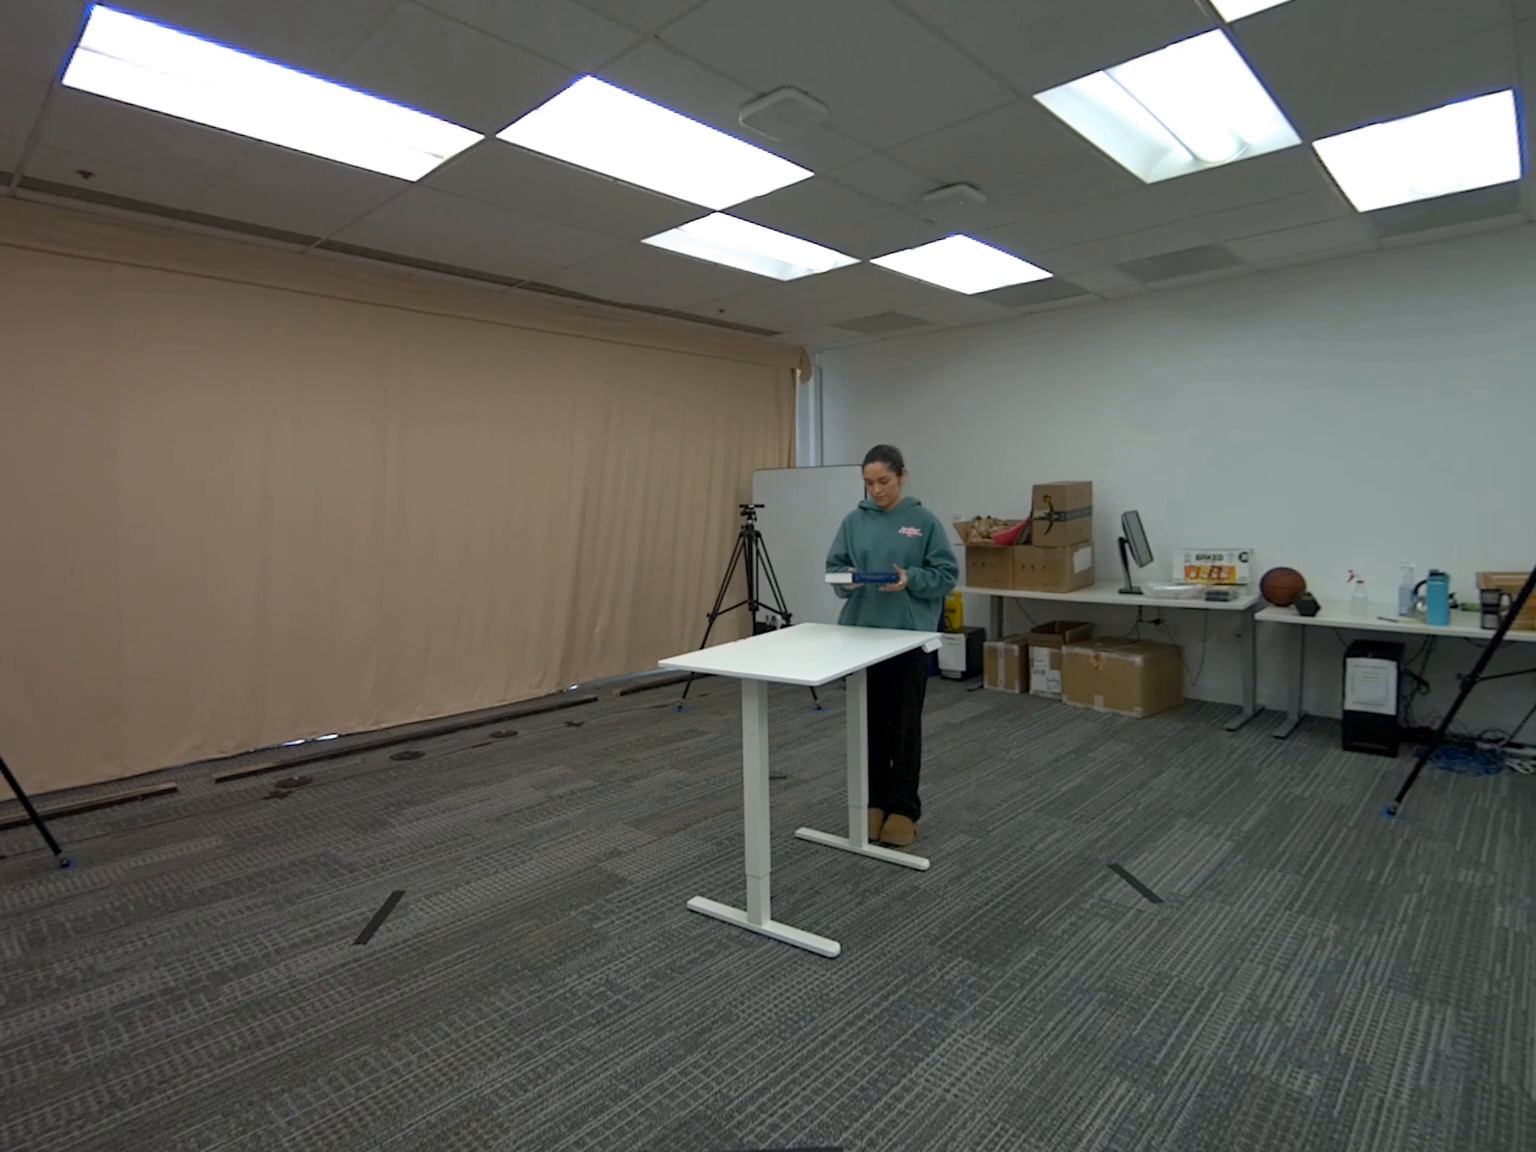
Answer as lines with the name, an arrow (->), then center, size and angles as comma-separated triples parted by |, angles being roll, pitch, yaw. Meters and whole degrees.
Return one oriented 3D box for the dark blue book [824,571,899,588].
dark blue book -> 0.359, 0.006, 3.261 | 0.237, 0.045, 0.168 | -2, 1, -39
